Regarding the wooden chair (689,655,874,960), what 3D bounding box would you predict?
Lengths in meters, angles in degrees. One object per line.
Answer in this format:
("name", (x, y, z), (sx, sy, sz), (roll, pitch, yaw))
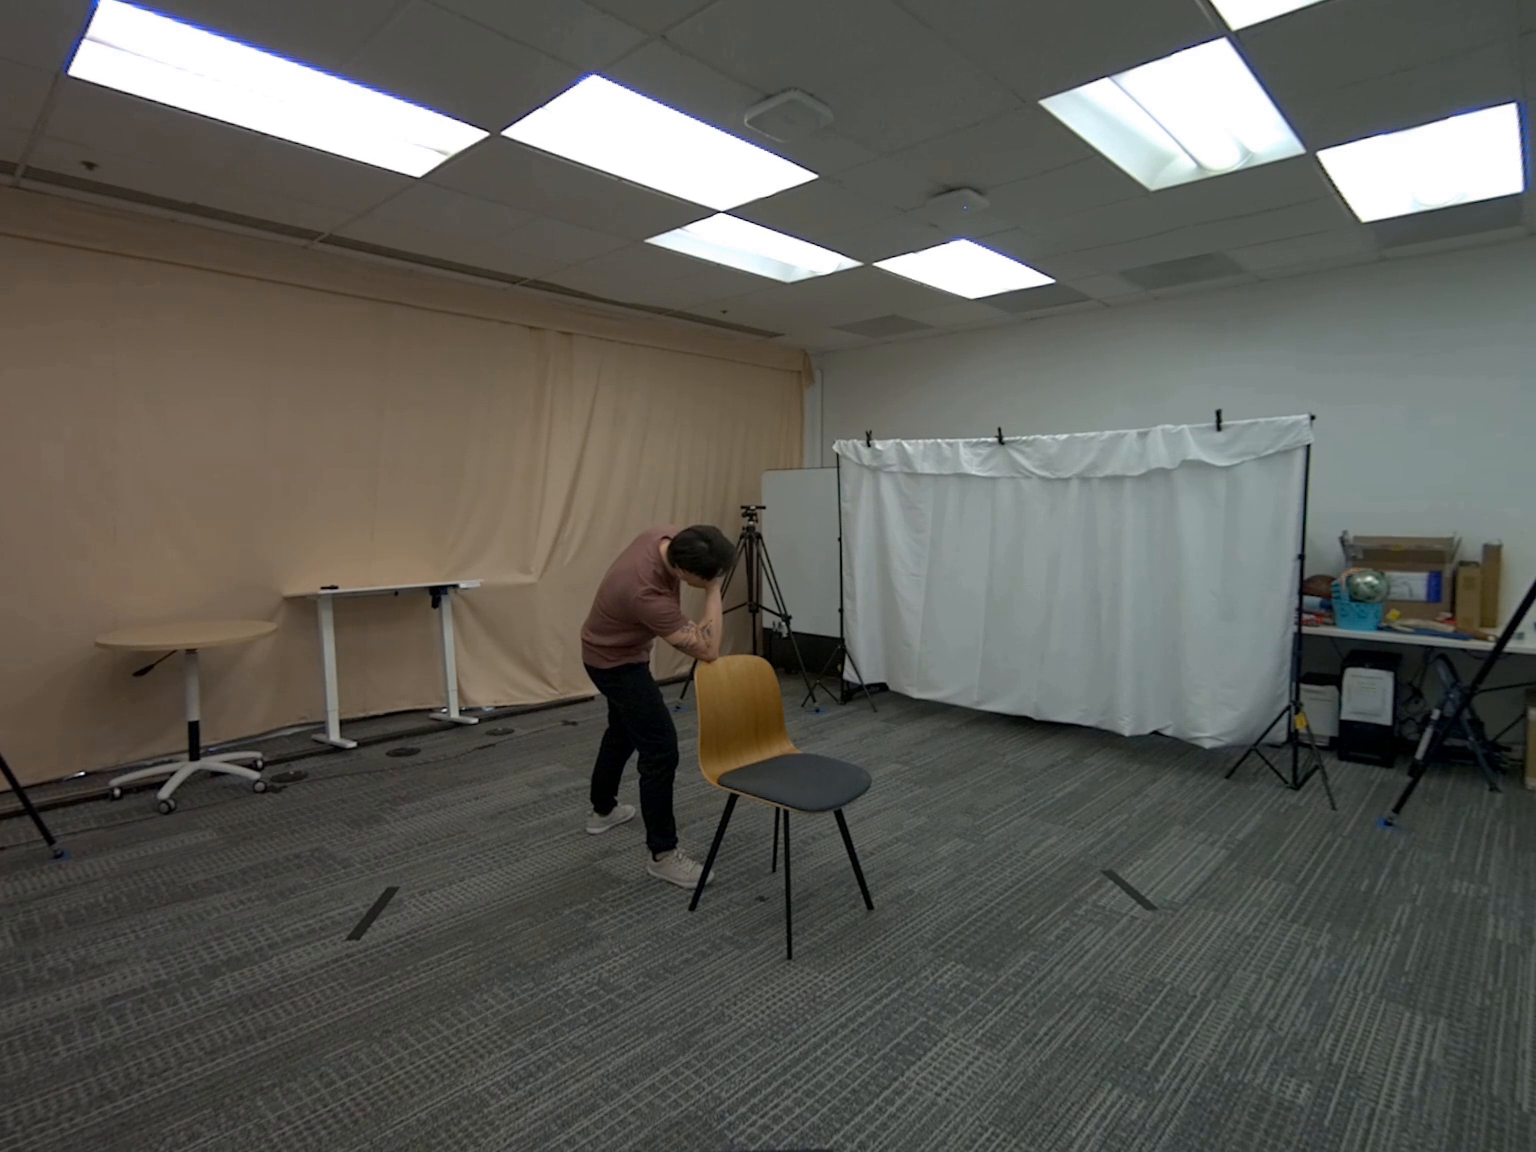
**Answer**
("wooden chair", (0.055, 0.726, 2.861), (0.539, 0.877, 0.463), (-3, 0, 43))
